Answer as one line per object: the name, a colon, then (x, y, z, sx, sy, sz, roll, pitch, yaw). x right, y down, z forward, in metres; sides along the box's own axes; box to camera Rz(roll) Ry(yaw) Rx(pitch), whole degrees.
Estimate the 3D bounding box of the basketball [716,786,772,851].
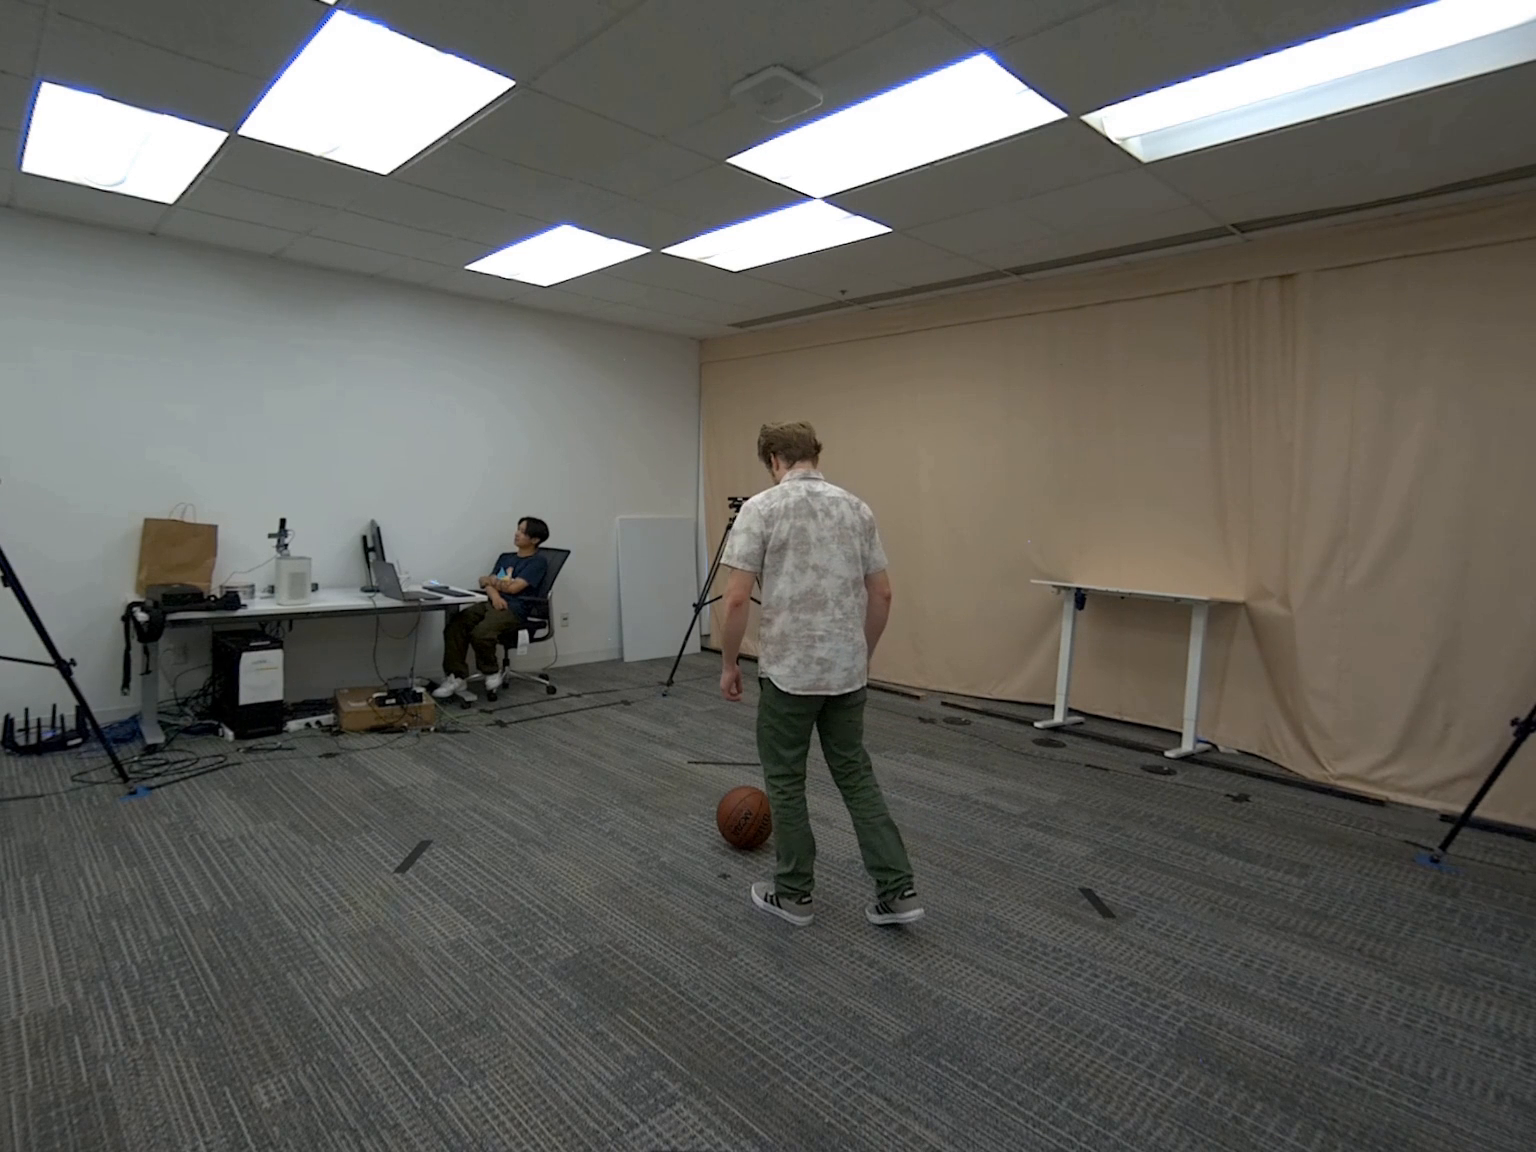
basketball: (-0.099, 0.959, 3.372, 0.236, 0.235, 0.237, 1, 4, -1)
